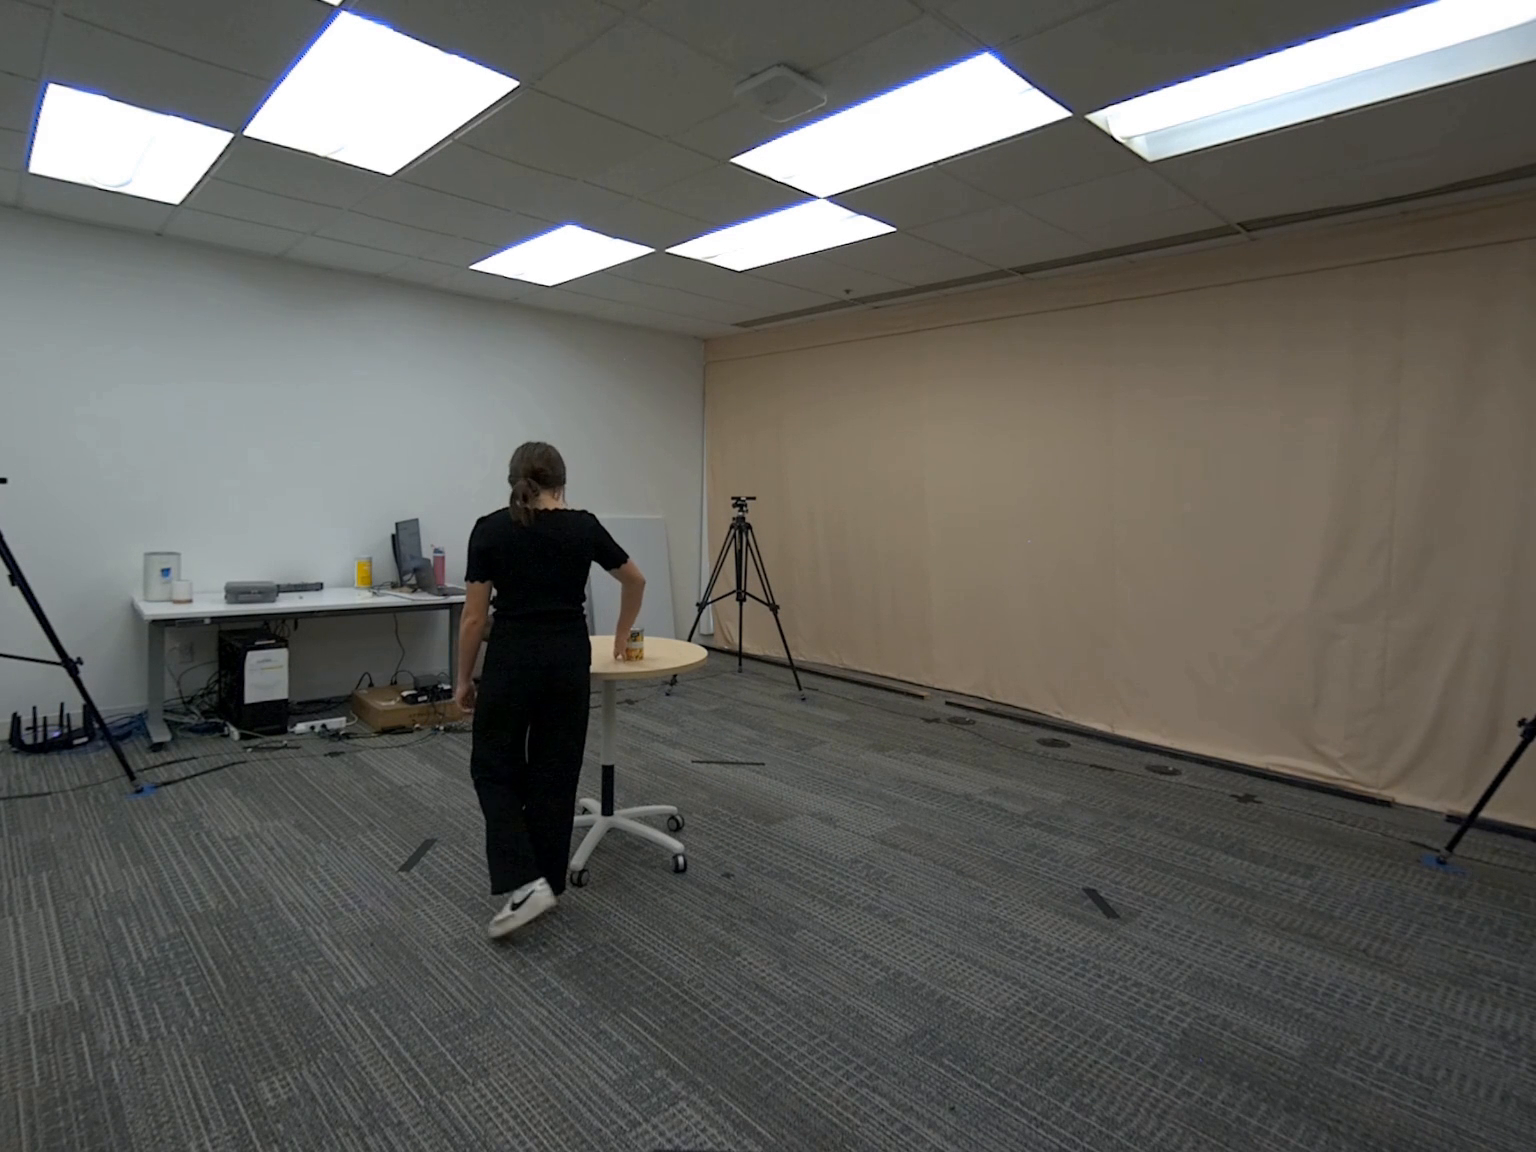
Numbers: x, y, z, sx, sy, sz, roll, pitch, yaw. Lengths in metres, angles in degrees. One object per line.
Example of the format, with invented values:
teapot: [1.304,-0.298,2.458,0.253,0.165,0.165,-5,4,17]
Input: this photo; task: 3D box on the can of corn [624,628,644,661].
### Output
can of corn: [-0.501,0.257,3.134,0.074,0.111,0.074,-1,3,-1]
